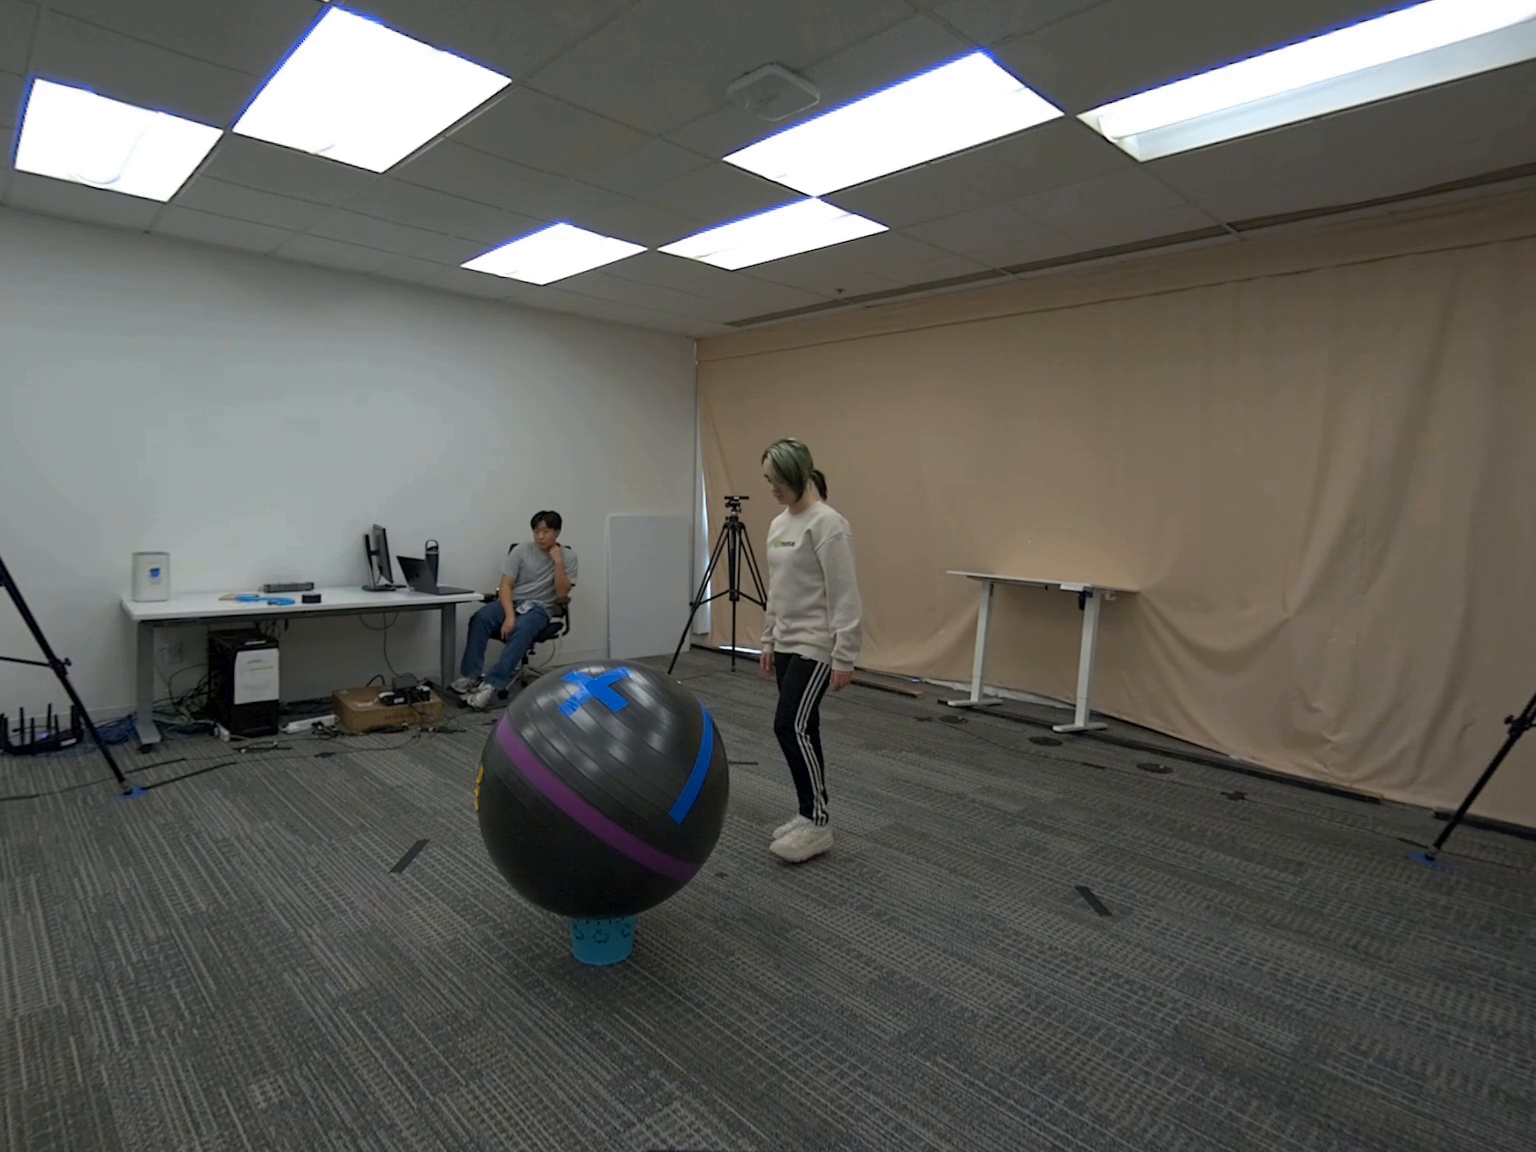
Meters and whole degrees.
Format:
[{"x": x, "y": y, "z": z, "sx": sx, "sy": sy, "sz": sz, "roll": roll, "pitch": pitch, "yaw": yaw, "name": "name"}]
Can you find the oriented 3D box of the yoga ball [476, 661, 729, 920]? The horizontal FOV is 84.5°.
[{"x": -0.500, "y": 0.637, "z": 2.557, "sx": 0.757, "sy": 0.756, "sz": 0.761, "roll": 1, "pitch": 4, "yaw": -1, "name": "yoga ball"}]
